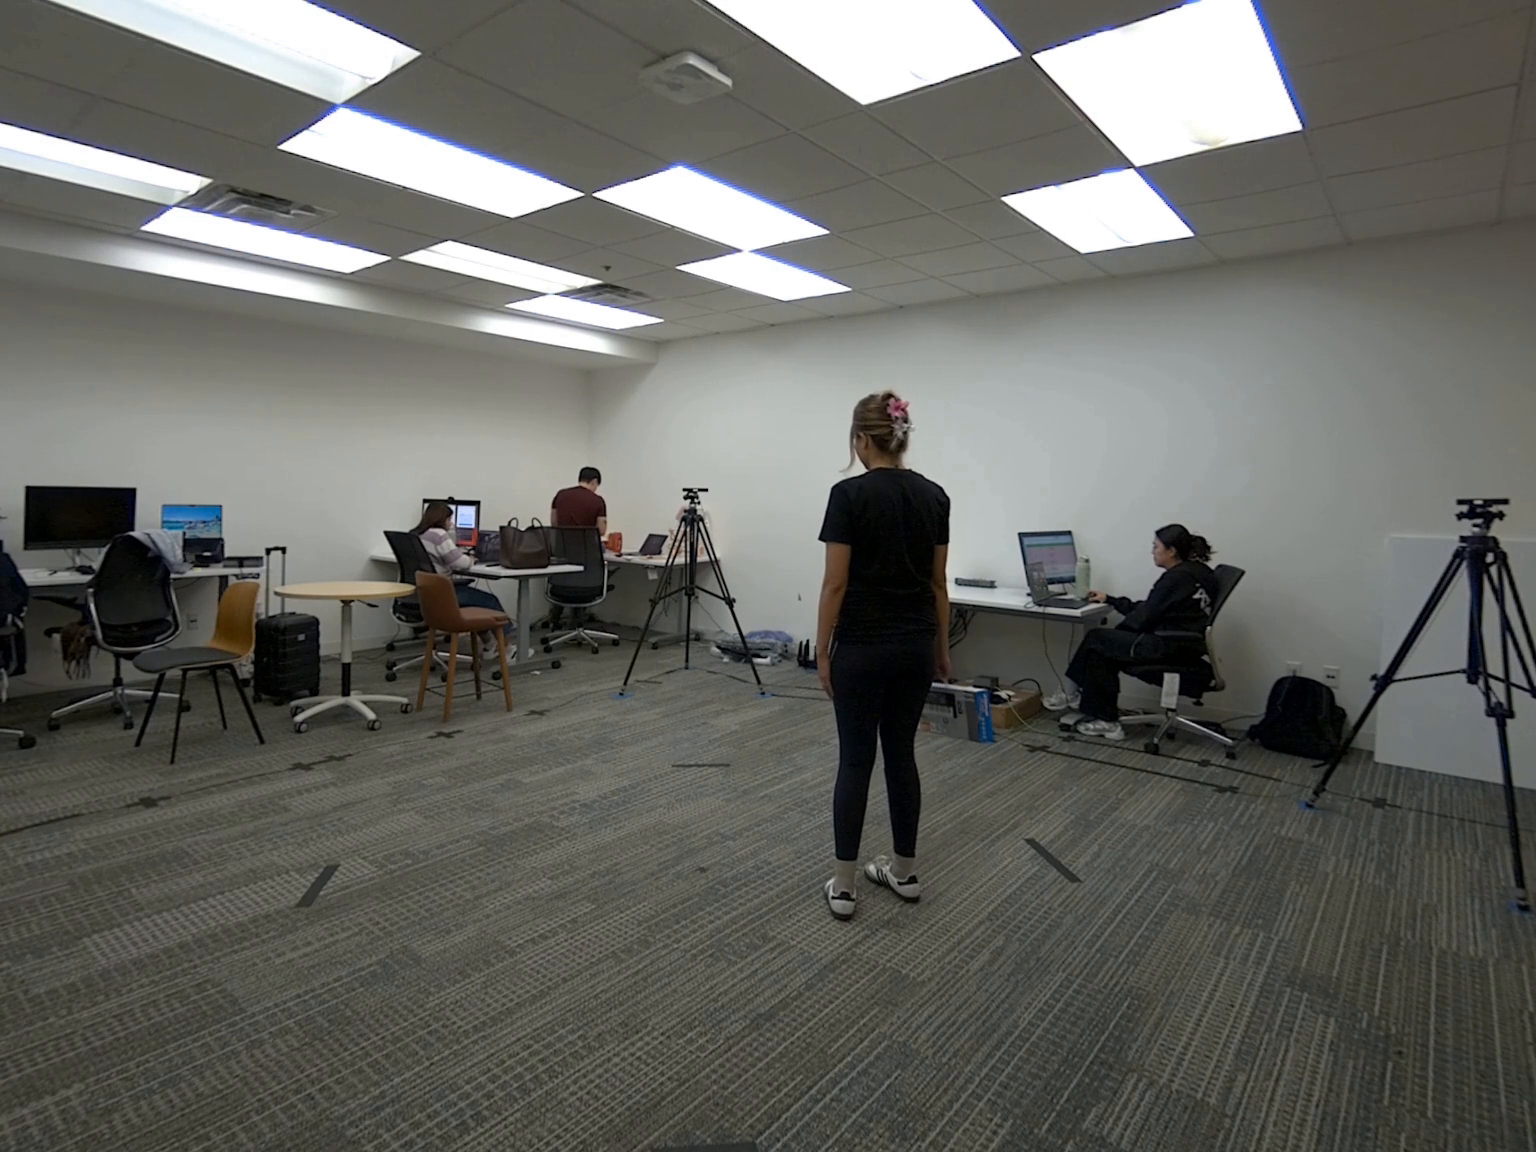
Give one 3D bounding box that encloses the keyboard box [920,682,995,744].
[{"bbox_3d":[0.605,0.474,3.040,0.058,0.176,0.446,-4,-1,-27],"label":"keyboard box"}]
